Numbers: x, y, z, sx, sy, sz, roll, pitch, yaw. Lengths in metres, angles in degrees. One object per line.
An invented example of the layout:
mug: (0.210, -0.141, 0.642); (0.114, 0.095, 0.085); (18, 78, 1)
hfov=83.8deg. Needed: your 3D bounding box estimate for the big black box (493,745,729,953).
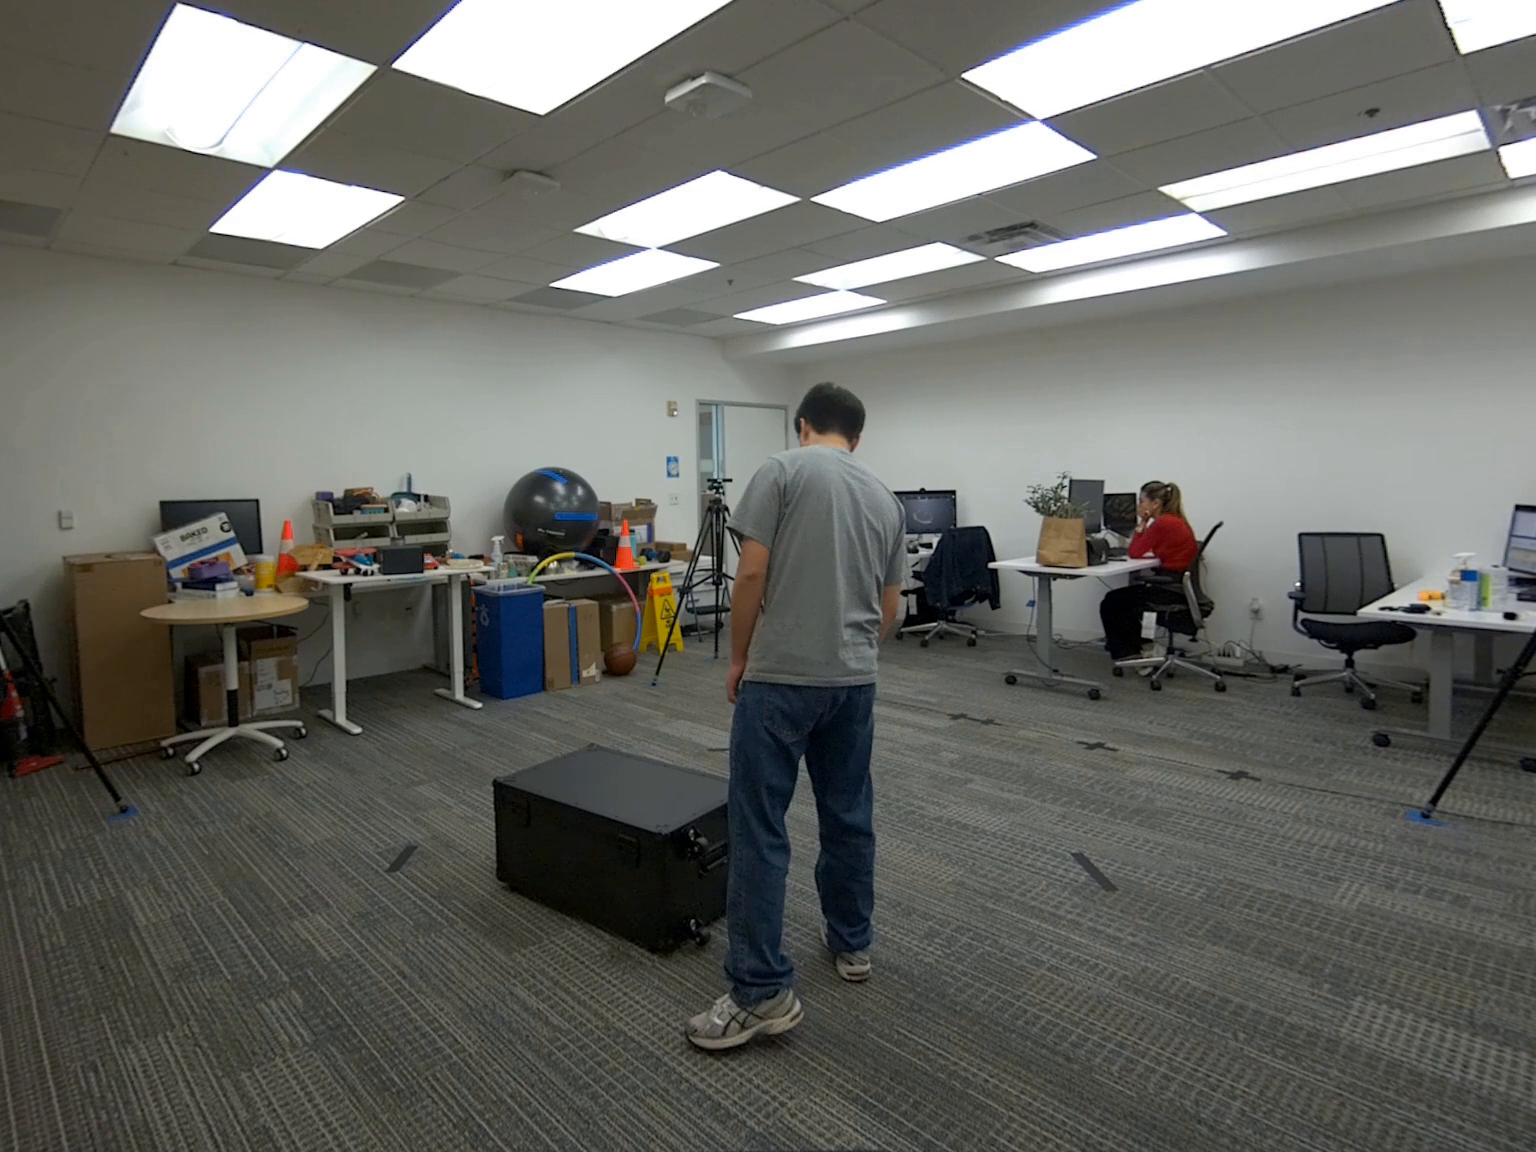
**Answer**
big black box: (-0.457, 0.886, 2.889); (0.887, 0.394, 0.508); (4, 7, 35)
